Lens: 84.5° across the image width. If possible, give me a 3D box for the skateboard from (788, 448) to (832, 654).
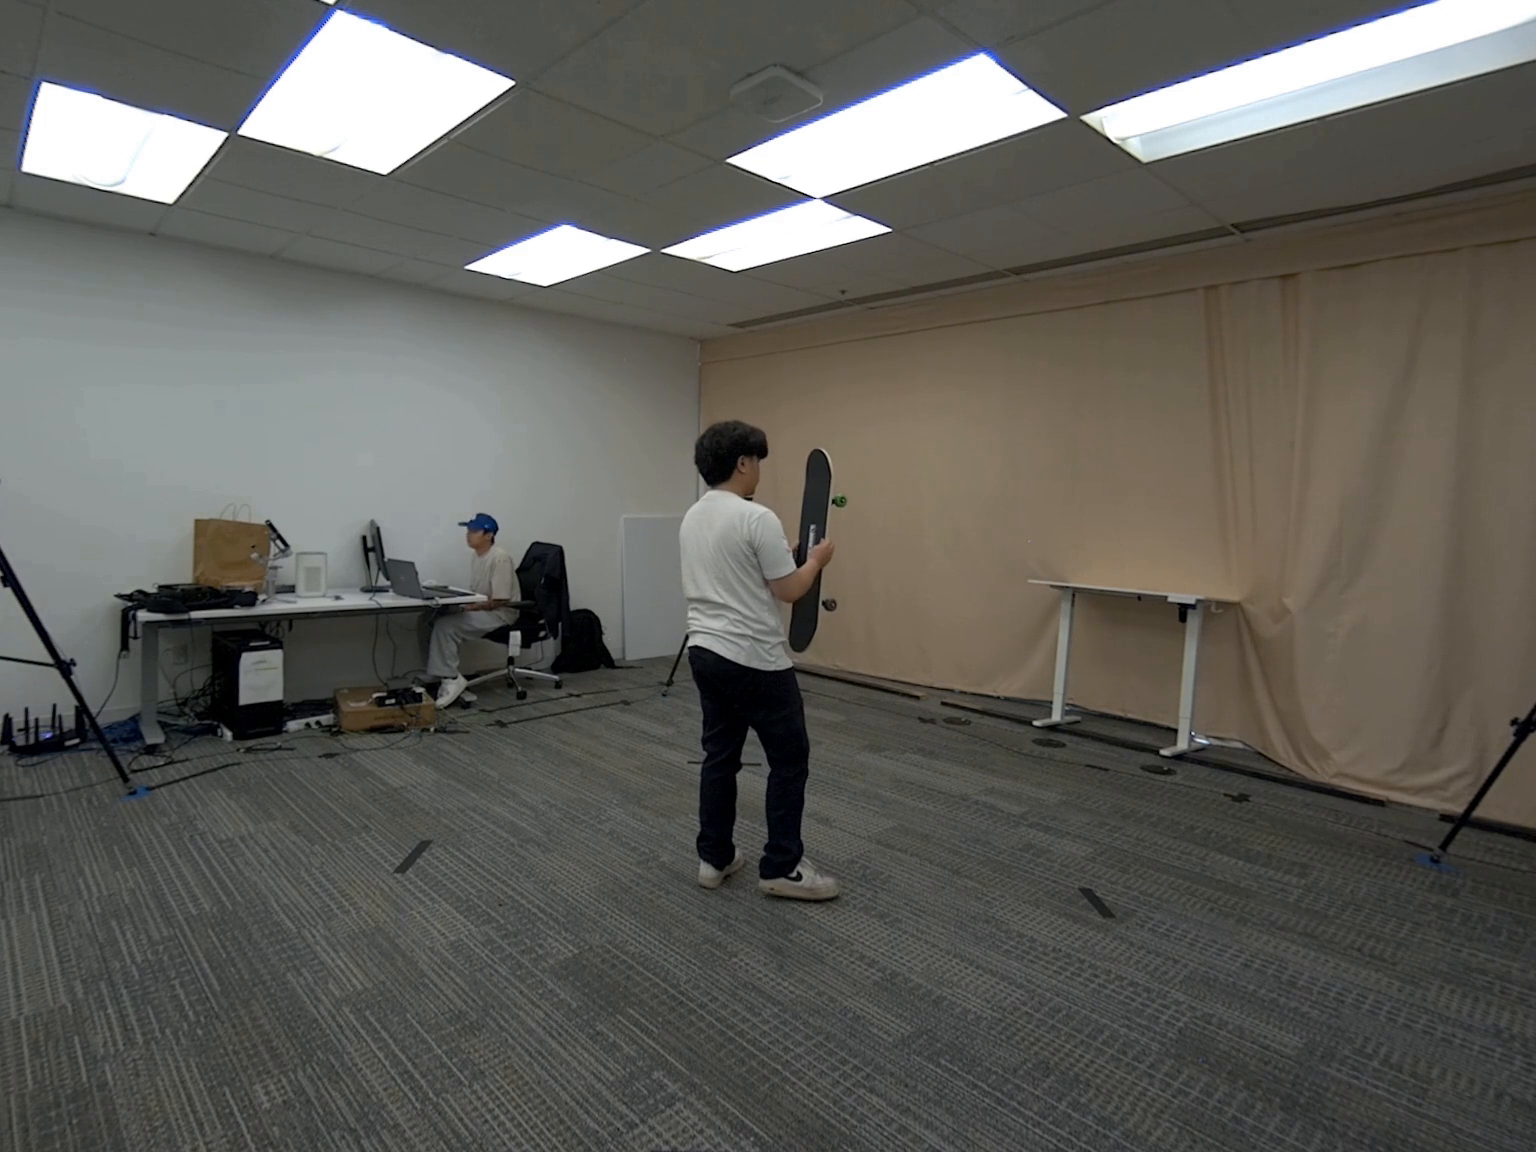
[{"bbox_3d":[0.187,-0.090,3.258,0.108,0.786,0.197,8,-2,-29],"label":"skateboard"}]
